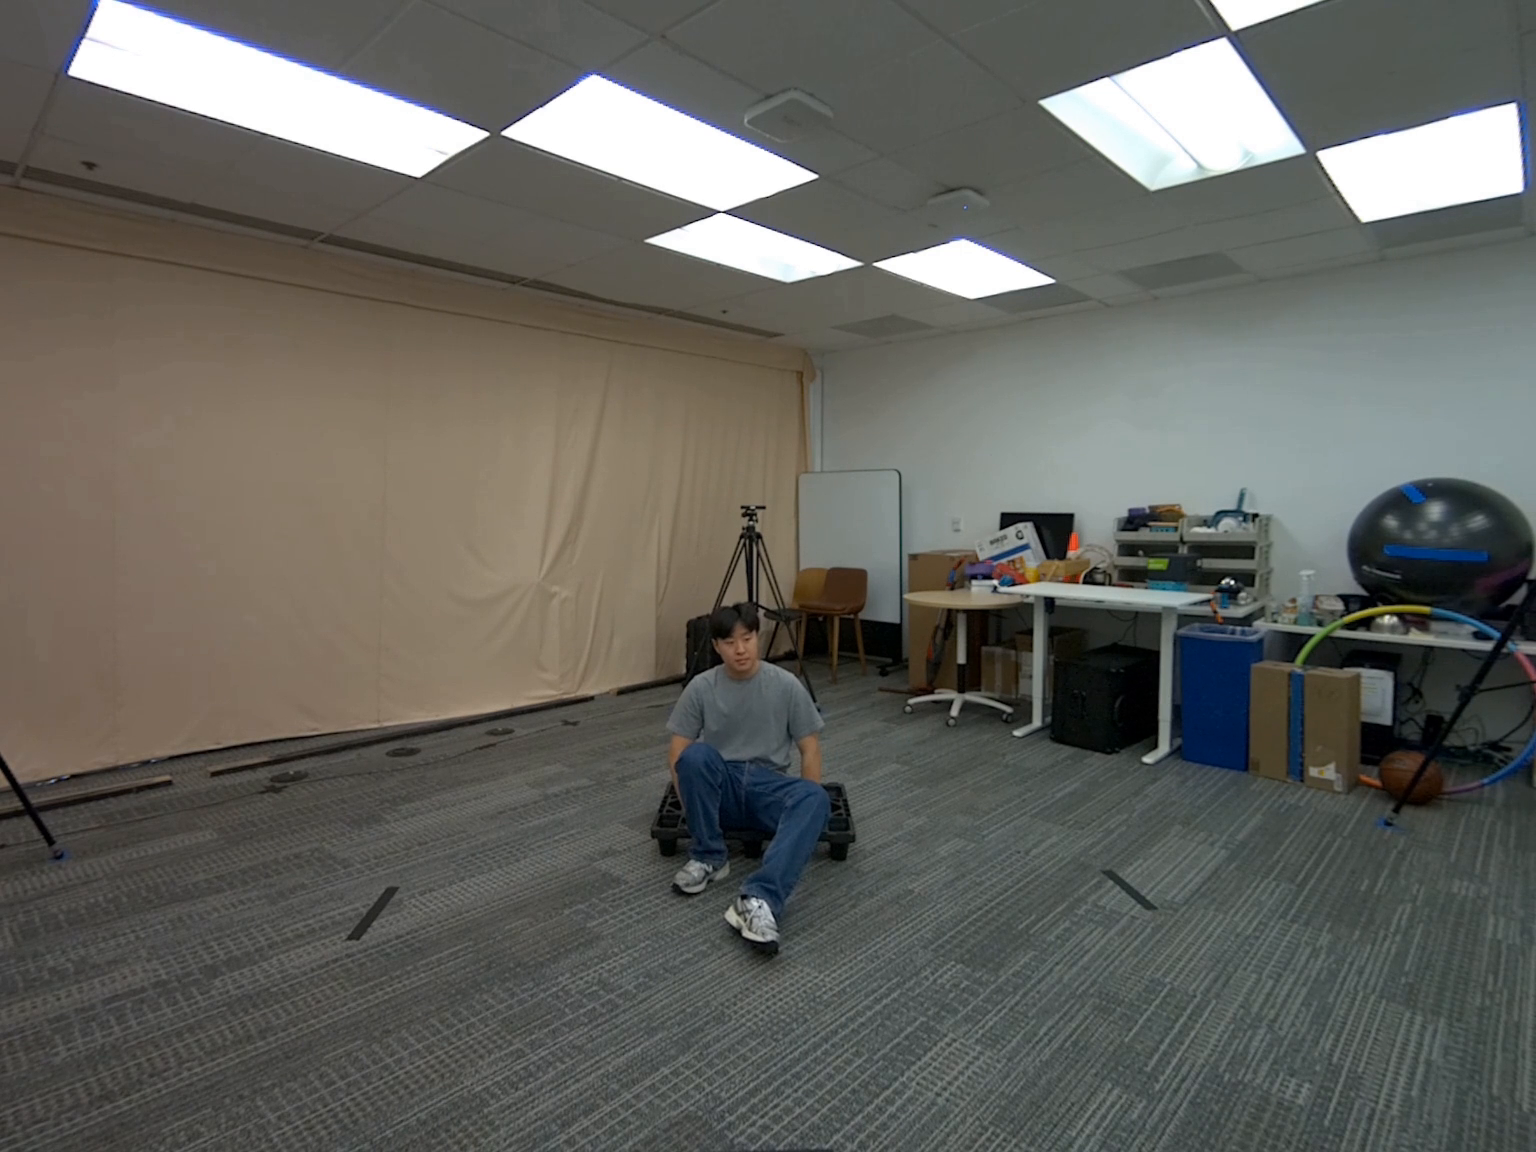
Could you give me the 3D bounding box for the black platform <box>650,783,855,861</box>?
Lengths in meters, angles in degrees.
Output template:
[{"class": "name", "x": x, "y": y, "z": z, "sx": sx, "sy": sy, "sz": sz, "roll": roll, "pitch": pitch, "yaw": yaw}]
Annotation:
[{"class": "black platform", "x": -0.052, "y": 1.028, "z": 3.547, "sx": 0.809, "sy": 0.143, "sz": 0.604, "roll": 0, "pitch": 5, "yaw": 3}]
